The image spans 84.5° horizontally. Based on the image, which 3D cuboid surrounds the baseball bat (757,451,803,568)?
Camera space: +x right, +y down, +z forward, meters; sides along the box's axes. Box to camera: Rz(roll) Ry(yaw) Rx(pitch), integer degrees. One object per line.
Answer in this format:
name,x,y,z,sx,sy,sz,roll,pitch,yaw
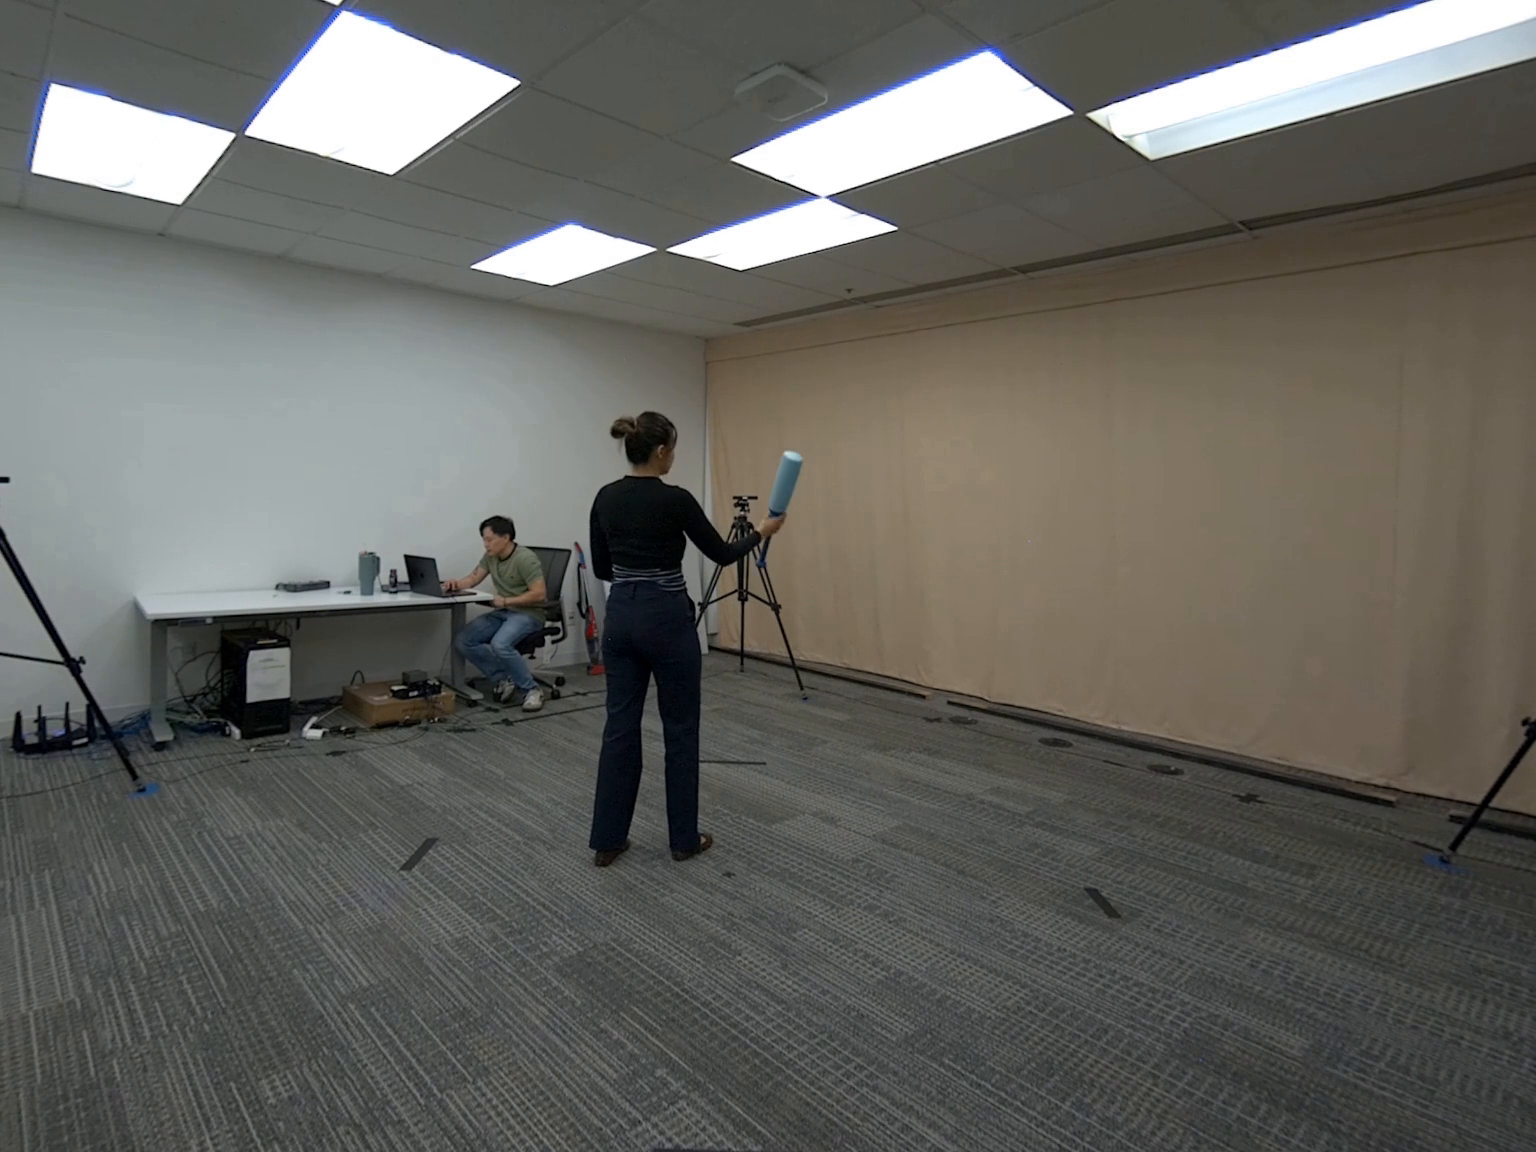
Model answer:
baseball bat,0.003,-0.248,3.472,0.088,0.536,0.091,12,27,-7
